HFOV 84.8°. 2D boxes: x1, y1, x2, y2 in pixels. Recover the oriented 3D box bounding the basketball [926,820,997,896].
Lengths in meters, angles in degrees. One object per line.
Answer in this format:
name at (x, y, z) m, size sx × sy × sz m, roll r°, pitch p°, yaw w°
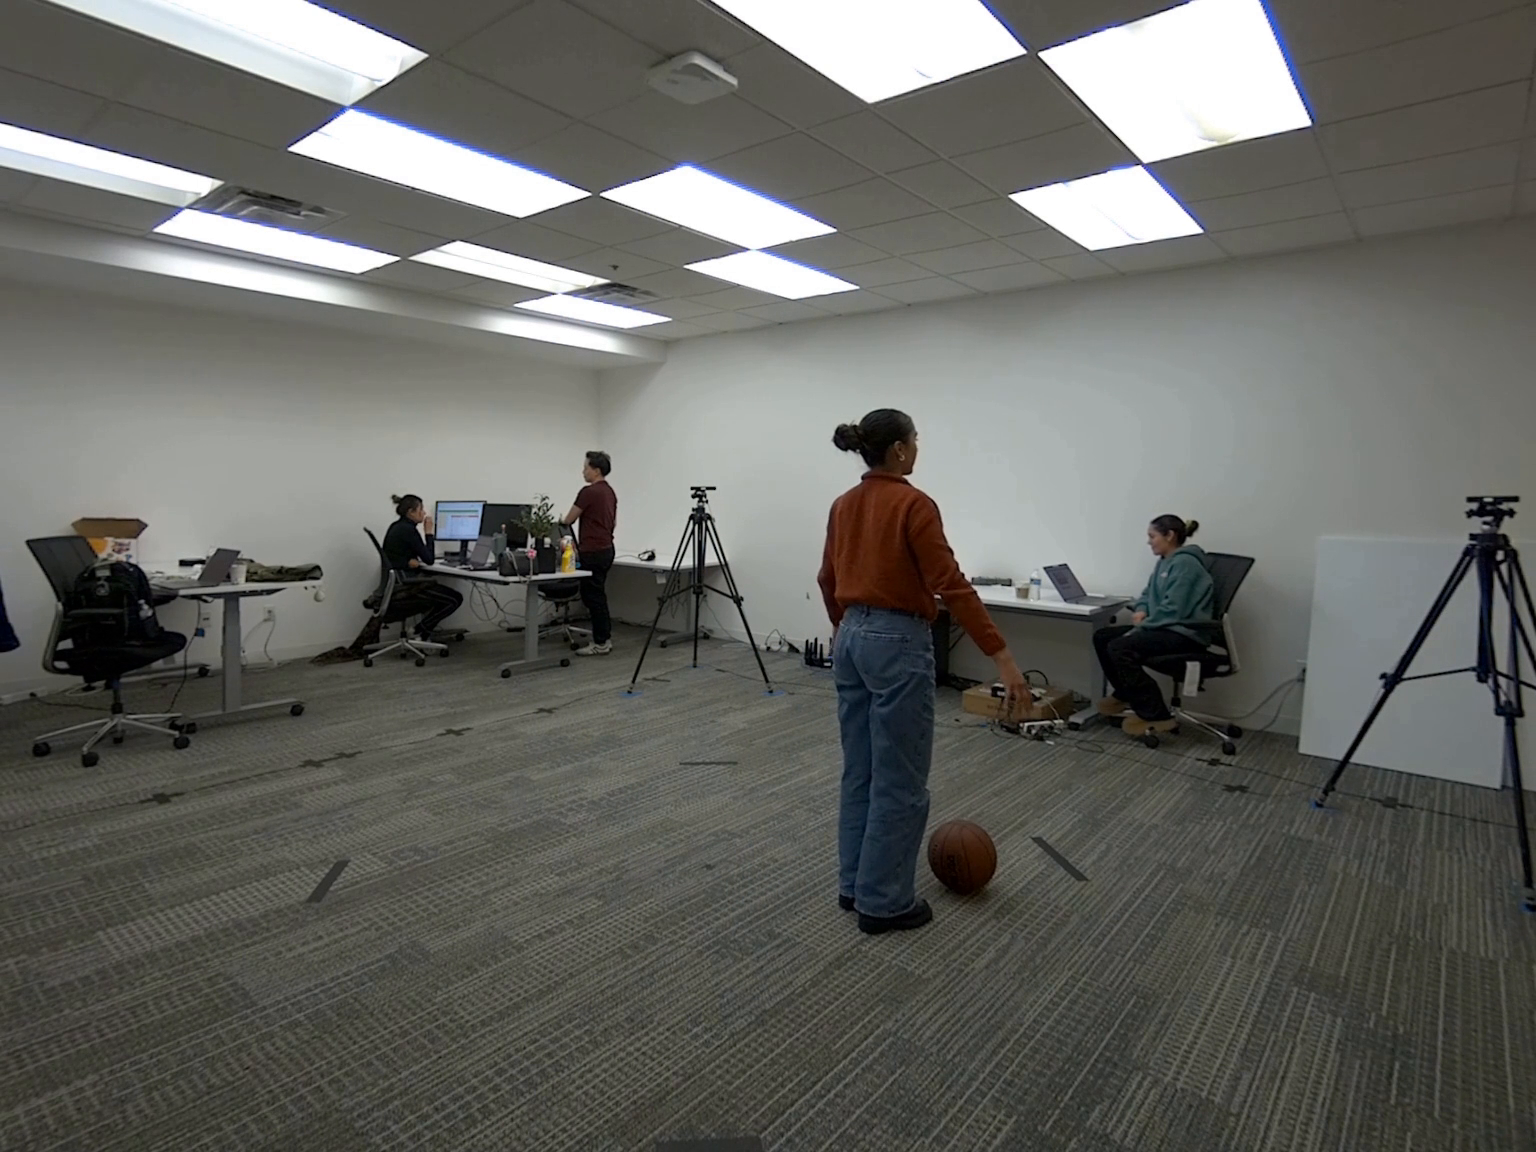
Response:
basketball at (0.671, 0.973, 2.993) m, size 0.236 × 0.235 × 0.237 m, roll 1°, pitch 4°, yaw -2°
